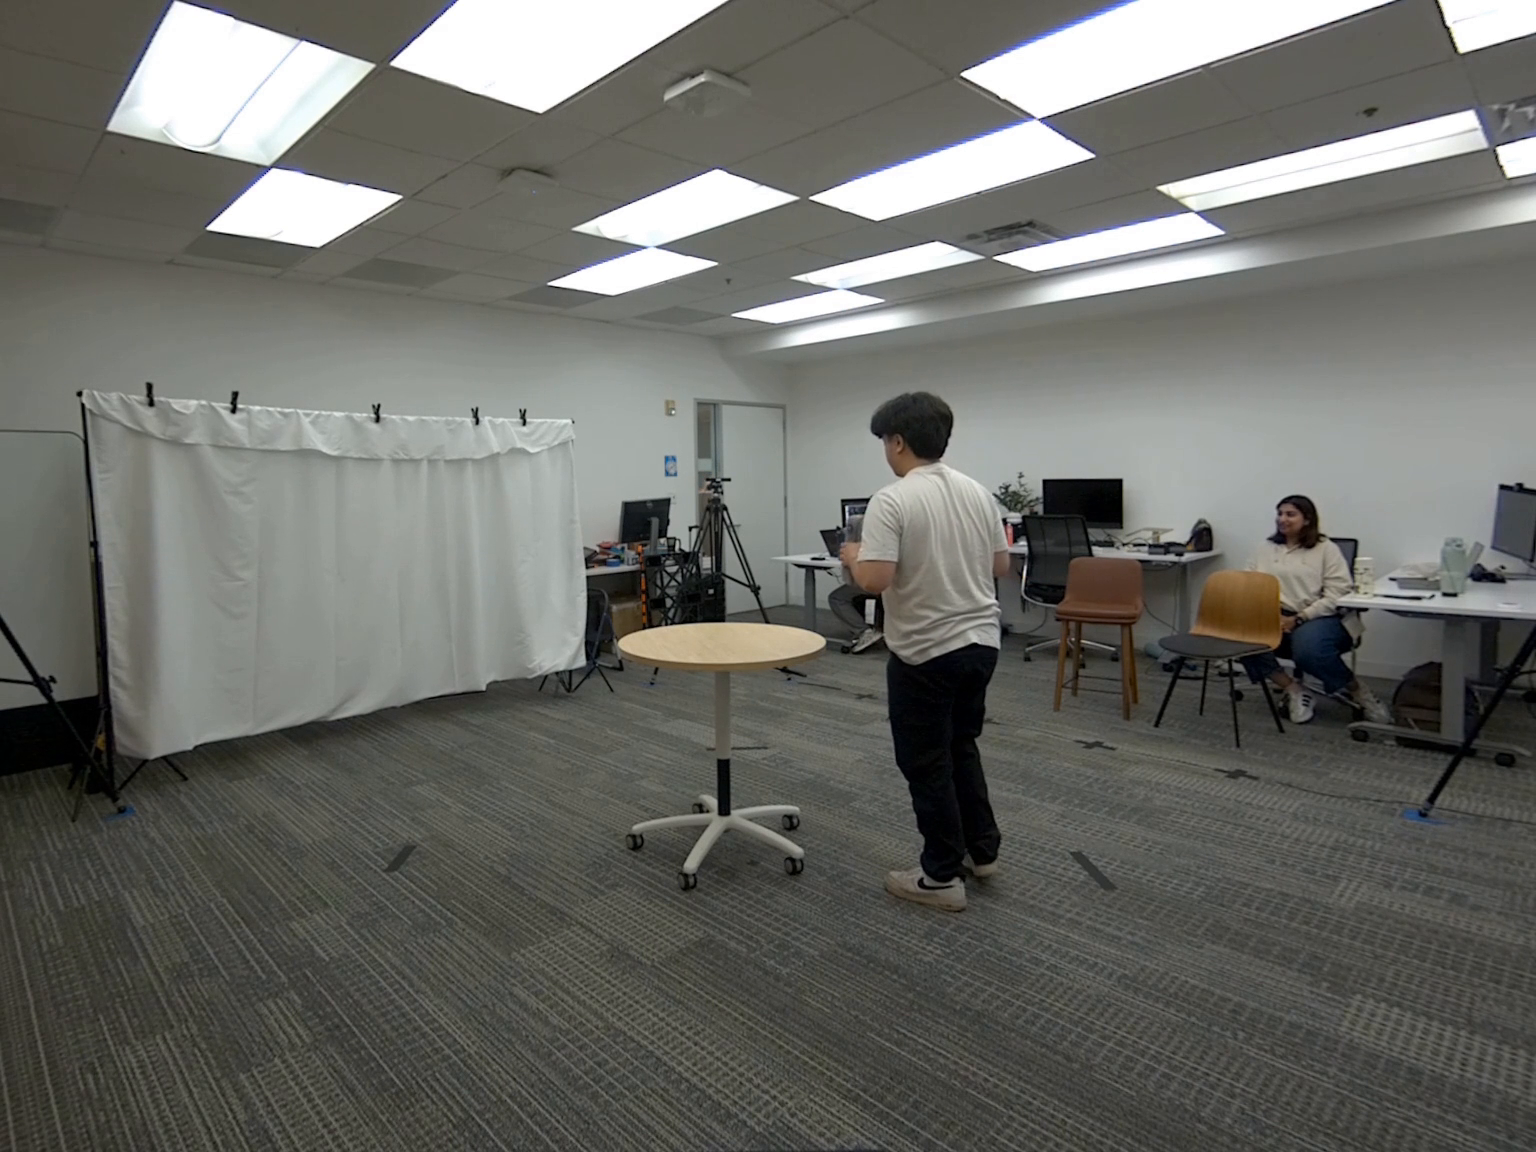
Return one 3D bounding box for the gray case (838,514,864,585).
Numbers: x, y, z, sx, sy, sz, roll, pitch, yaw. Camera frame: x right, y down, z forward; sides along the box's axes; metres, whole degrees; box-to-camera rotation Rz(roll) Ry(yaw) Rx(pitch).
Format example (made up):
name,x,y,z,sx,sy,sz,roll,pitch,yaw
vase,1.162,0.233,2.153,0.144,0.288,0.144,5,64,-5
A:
name,x,y,z,sx,sy,sz,roll,pitch,yaw
gray case,0.408,-0.094,3.028,0.250,0.259,0.108,-1,10,-34
